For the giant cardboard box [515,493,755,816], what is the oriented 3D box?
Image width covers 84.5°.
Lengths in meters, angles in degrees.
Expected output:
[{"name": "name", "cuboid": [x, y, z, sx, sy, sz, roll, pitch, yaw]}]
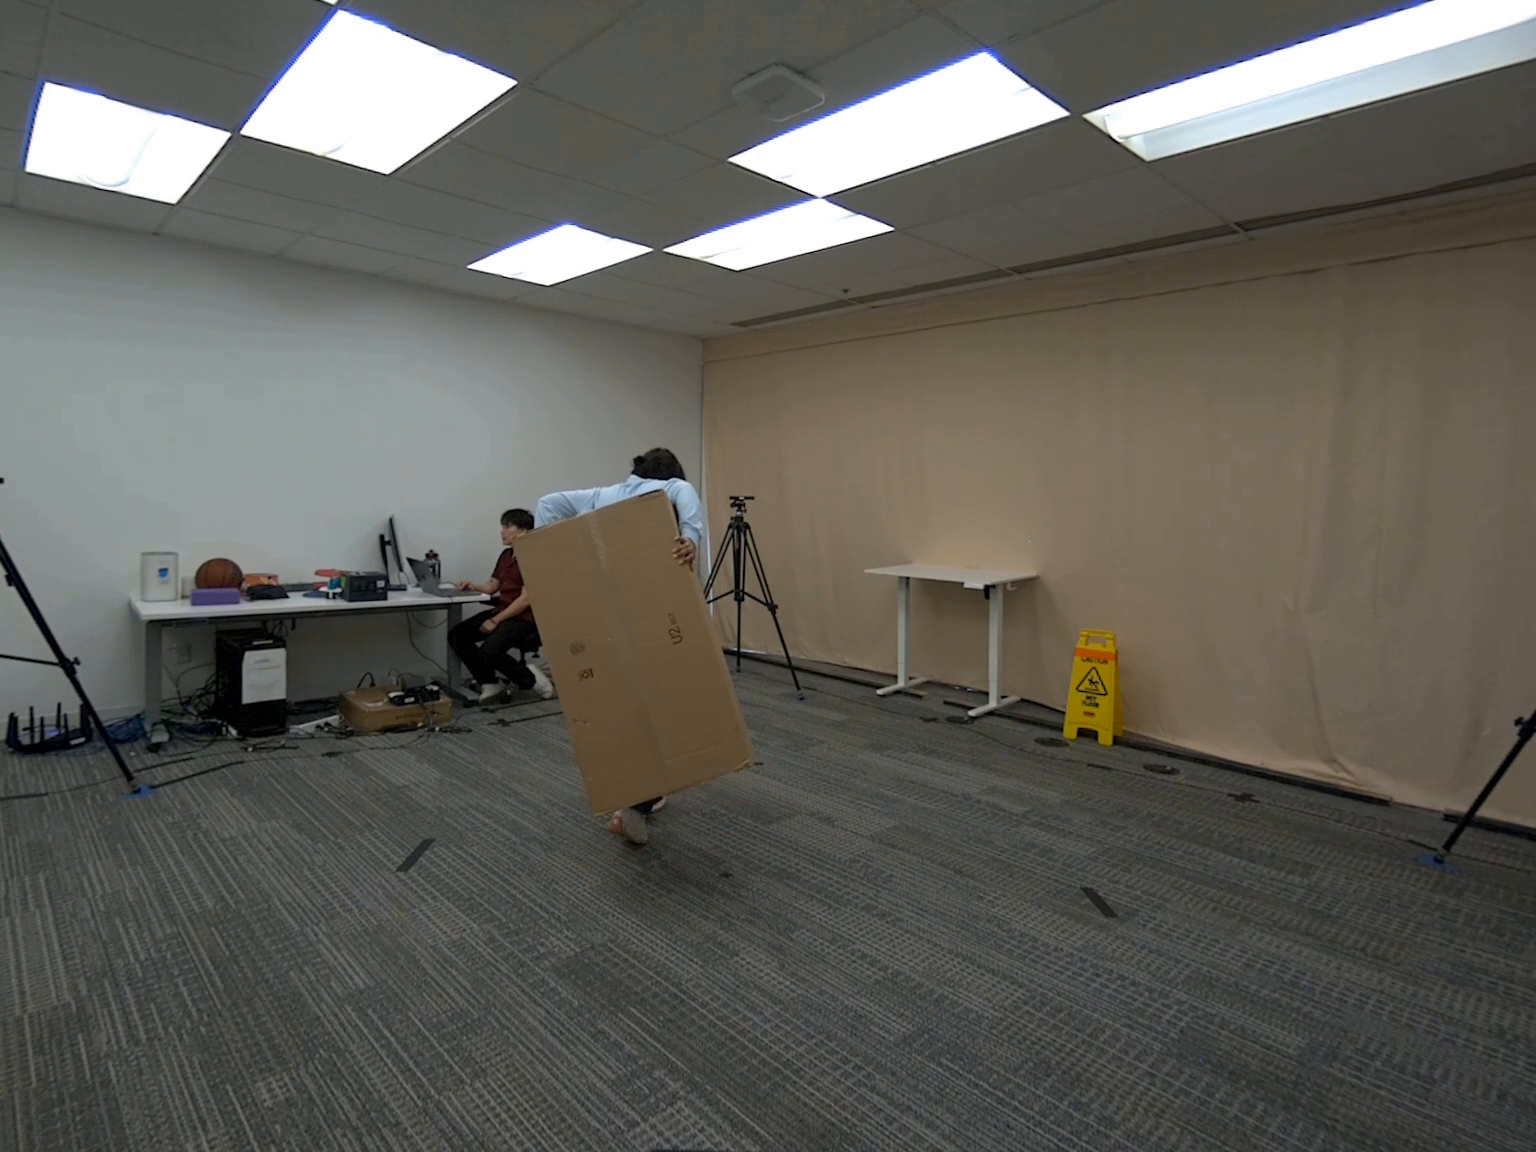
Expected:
[{"name": "giant cardboard box", "cuboid": [-0.490, 0.278, 3.123, 0.577, 1.034, 0.423, -18, -8, 0]}]
